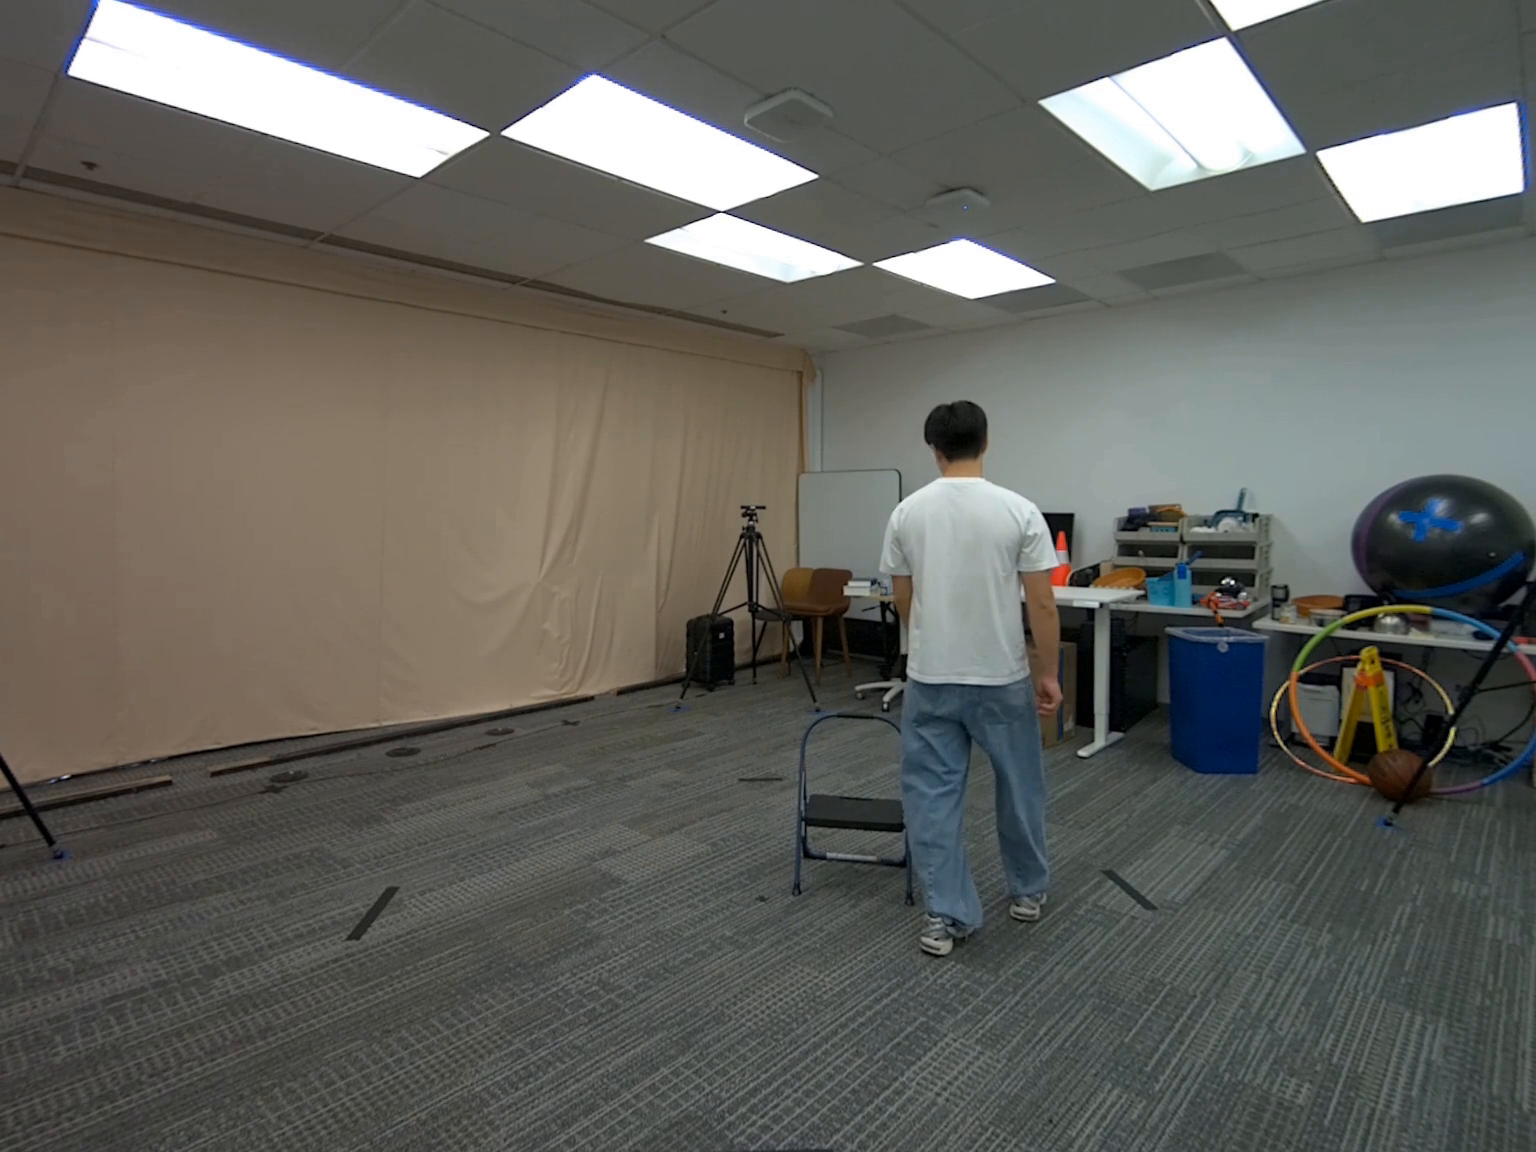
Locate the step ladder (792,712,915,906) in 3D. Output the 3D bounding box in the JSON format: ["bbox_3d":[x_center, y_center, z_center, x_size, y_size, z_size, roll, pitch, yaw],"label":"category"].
[{"bbox_3d":[0.327,0.827,3.125,0.436,0.605,0.346,1,3,10],"label":"step ladder"}]
